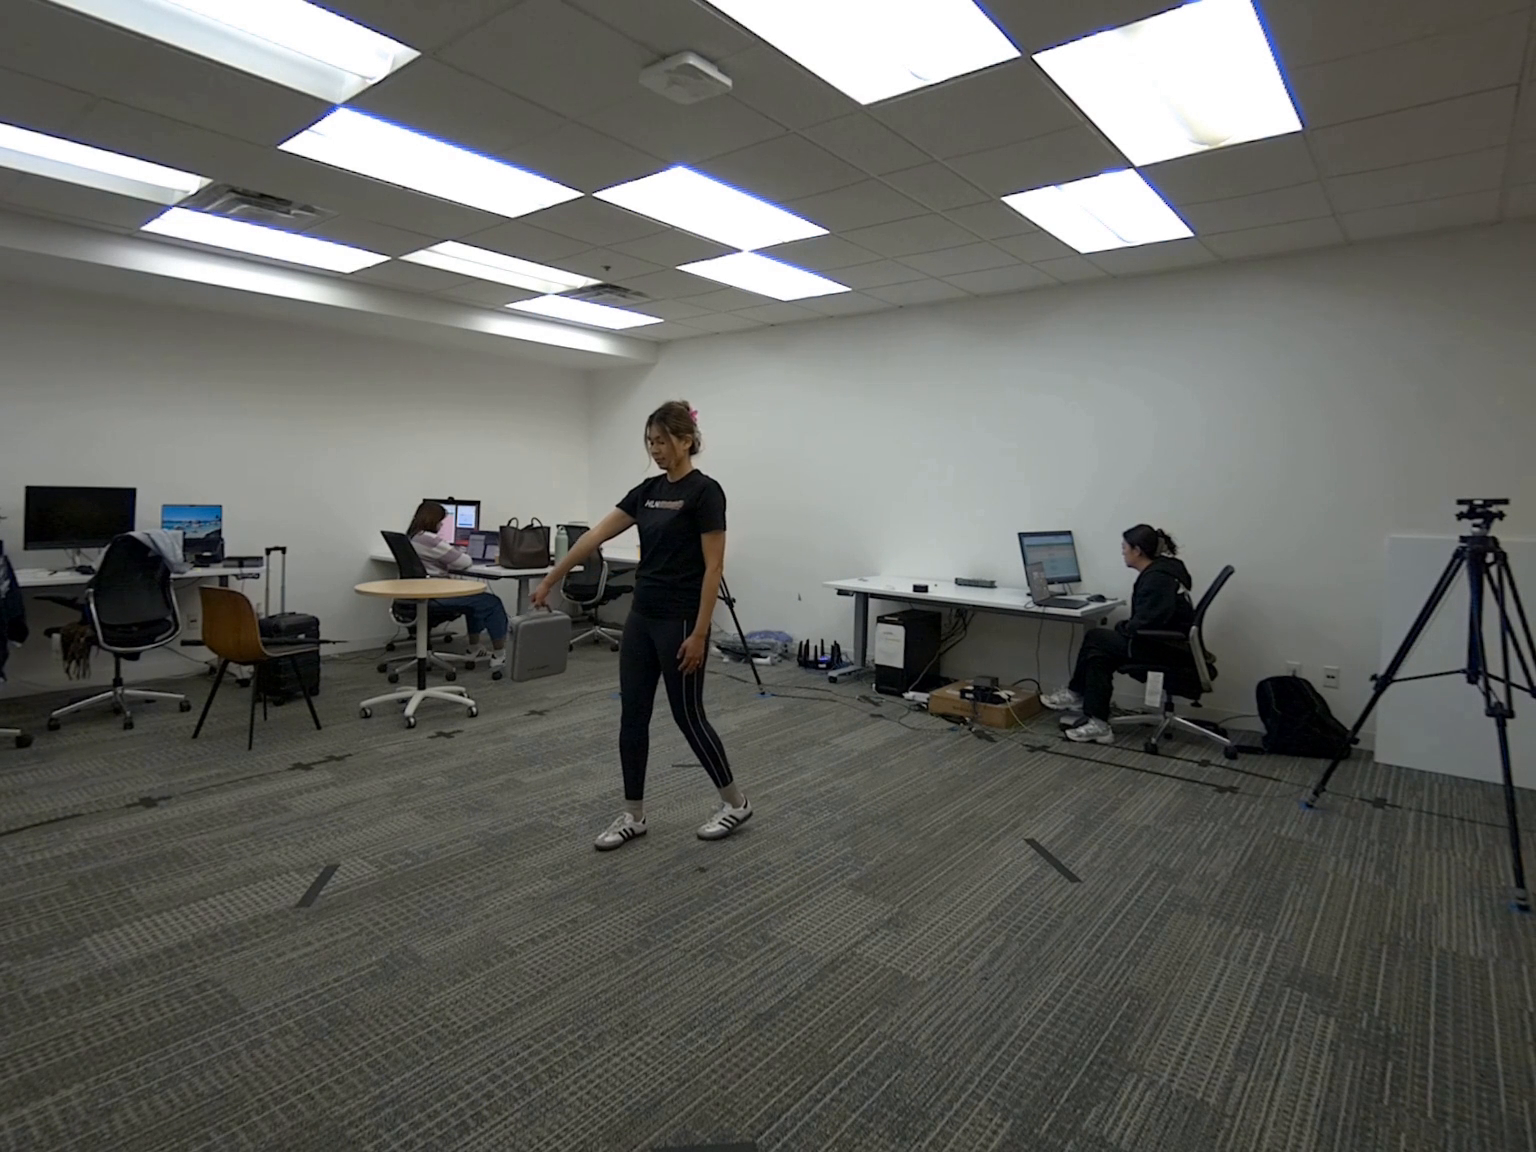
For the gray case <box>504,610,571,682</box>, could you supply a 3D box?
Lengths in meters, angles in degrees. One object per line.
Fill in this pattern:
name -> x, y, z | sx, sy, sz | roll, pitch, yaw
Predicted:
gray case -> -0.937, 0.271, 3.405 | 0.108, 0.258, 0.249 | 16, 14, 41
